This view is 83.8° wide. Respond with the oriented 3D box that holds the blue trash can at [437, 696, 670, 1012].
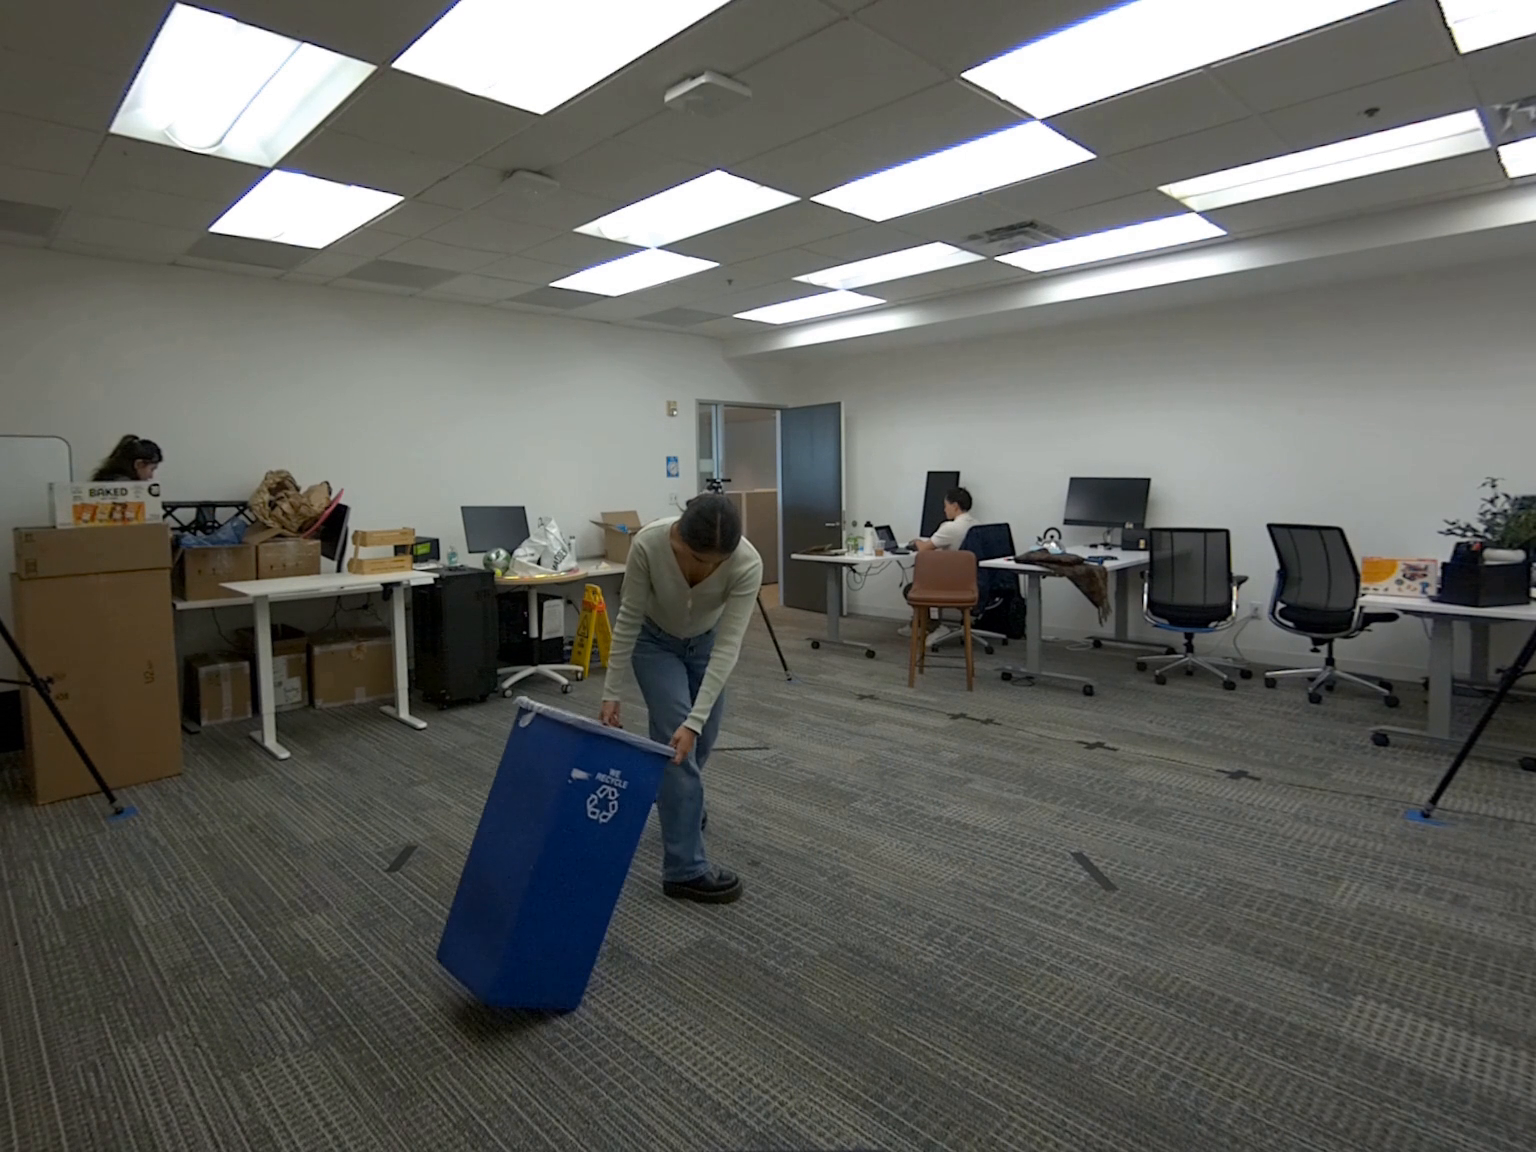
[{"bbox_3d":[-0.576,0.757,2.375,0.390,0.719,0.360,4,-18,44],"label":"blue trash can"}]
